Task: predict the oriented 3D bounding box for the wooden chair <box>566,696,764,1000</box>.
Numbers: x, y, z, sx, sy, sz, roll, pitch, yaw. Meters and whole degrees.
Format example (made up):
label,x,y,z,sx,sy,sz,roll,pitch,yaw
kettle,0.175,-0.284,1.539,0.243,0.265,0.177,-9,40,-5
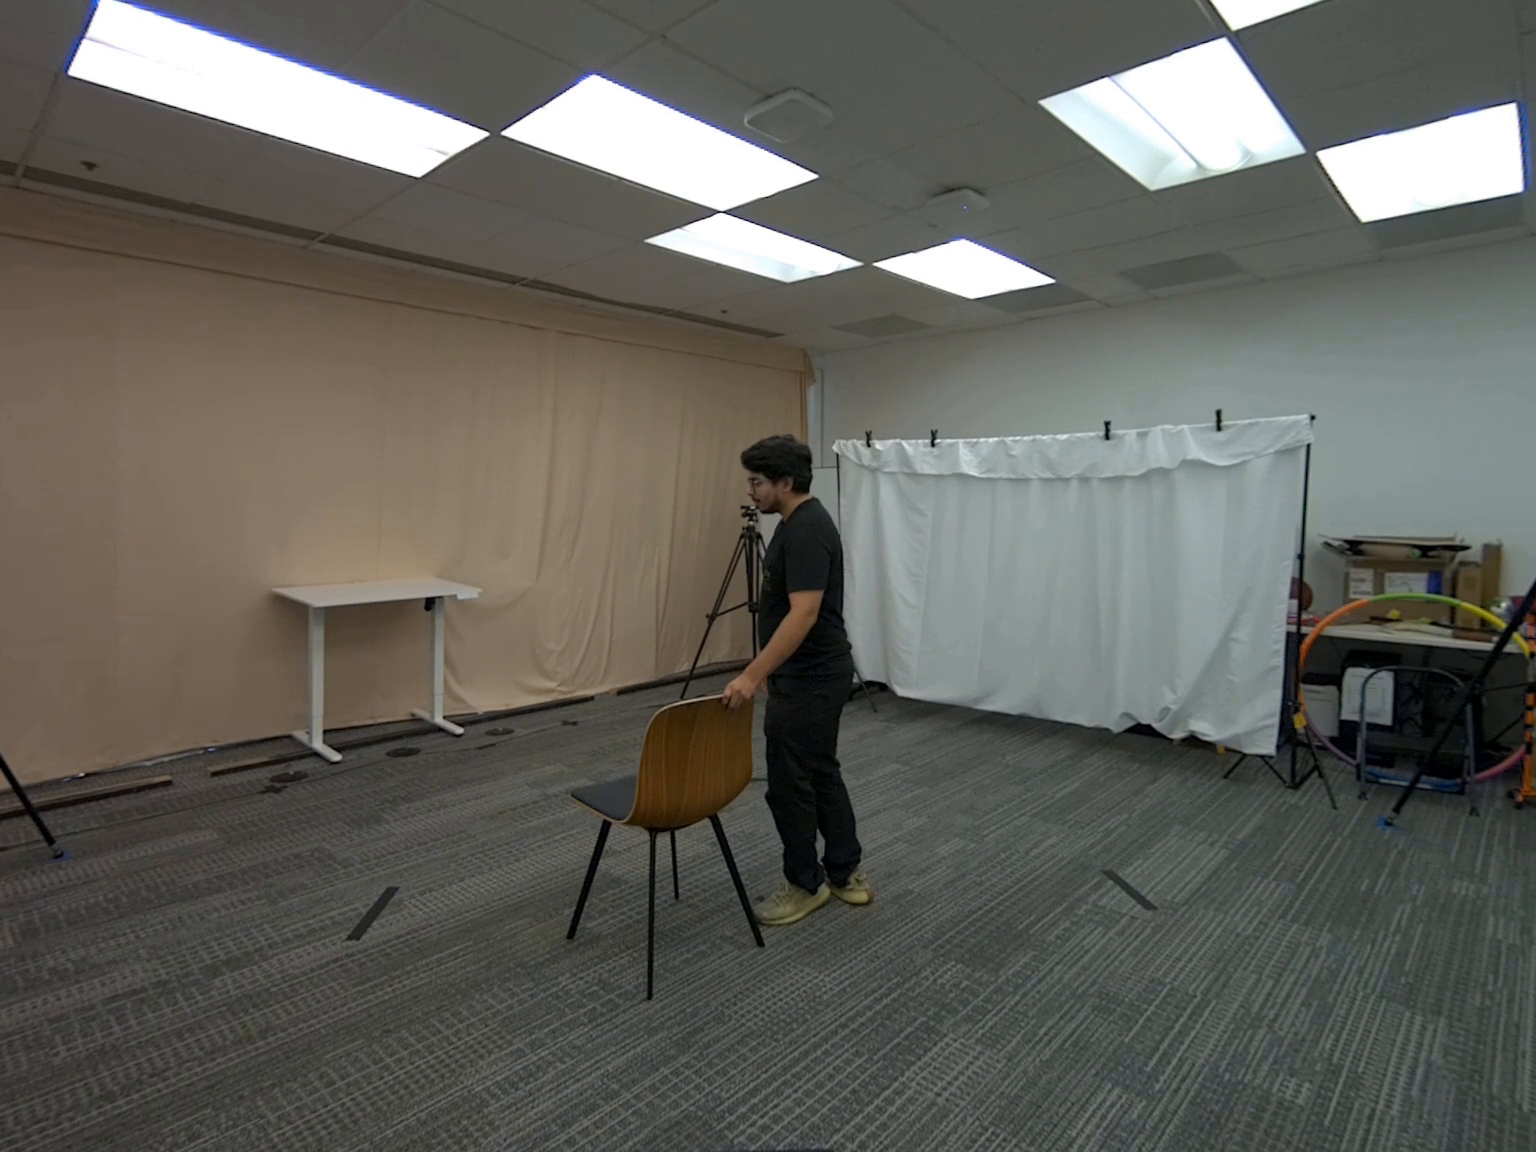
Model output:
label,x,y,z,sx,sy,sz,roll,pitch,yaw
wooden chair,-0.336,0.744,2.664,0.463,0.874,0.541,-2,8,-42
